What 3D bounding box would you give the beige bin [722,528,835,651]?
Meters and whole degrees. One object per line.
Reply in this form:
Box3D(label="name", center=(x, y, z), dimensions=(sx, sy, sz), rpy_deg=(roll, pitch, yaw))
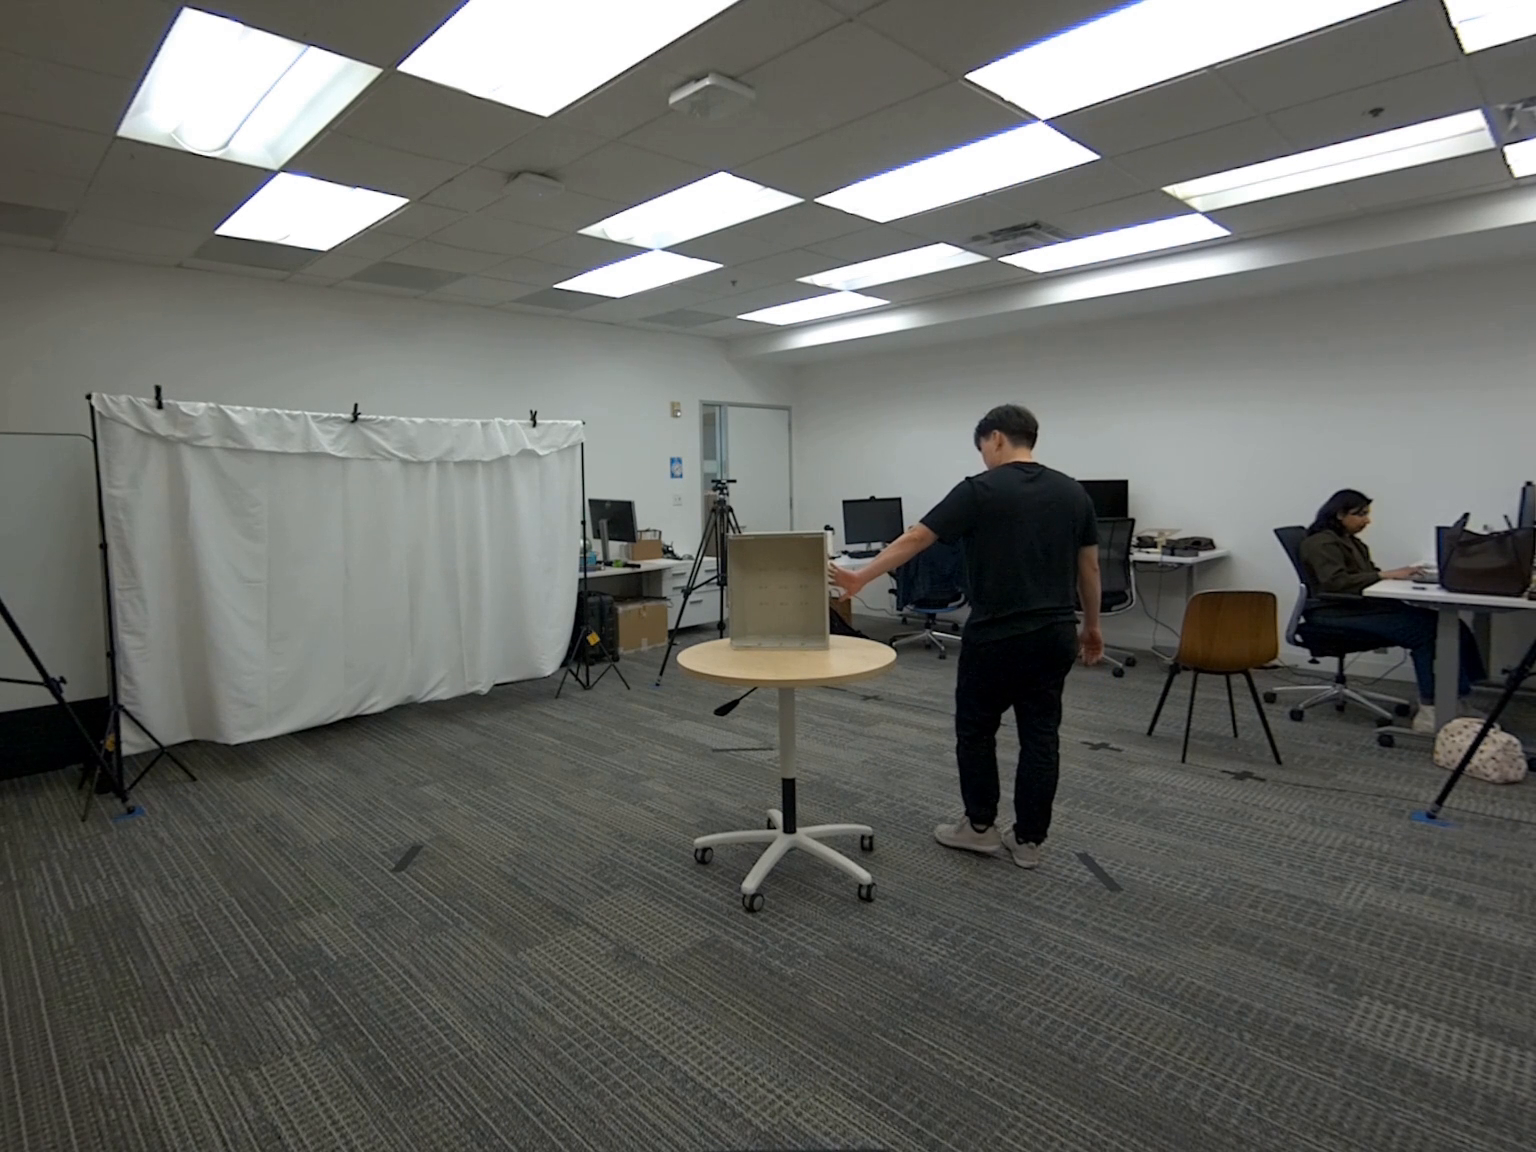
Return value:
Box3D(label="beige bin", center=(0.040, 0.043, 3.155), dimensions=(0.381, 0.421, 0.188), rpy_deg=(-2, 2, 9))
